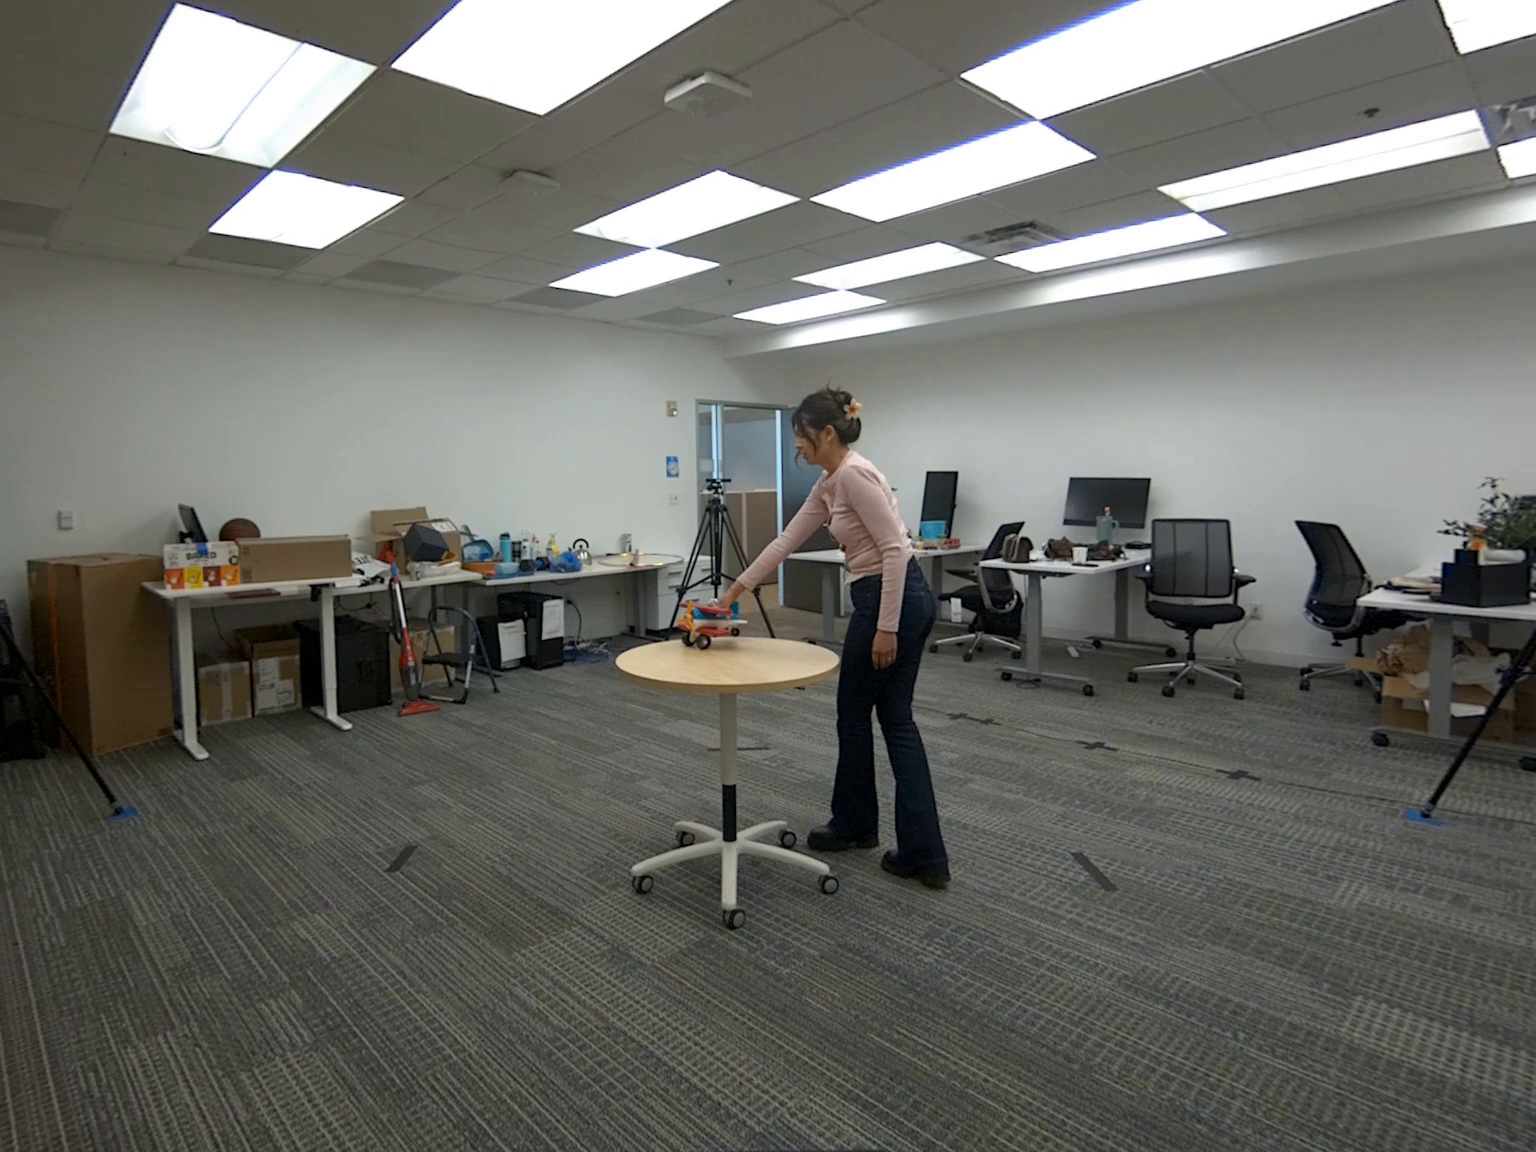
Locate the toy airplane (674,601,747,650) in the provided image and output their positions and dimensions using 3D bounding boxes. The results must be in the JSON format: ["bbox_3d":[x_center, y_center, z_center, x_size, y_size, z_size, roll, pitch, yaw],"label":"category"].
[{"bbox_3d":[-0.218,0.166,3.173,0.256,0.155,0.257,-1,12,20],"label":"toy airplane"}]
